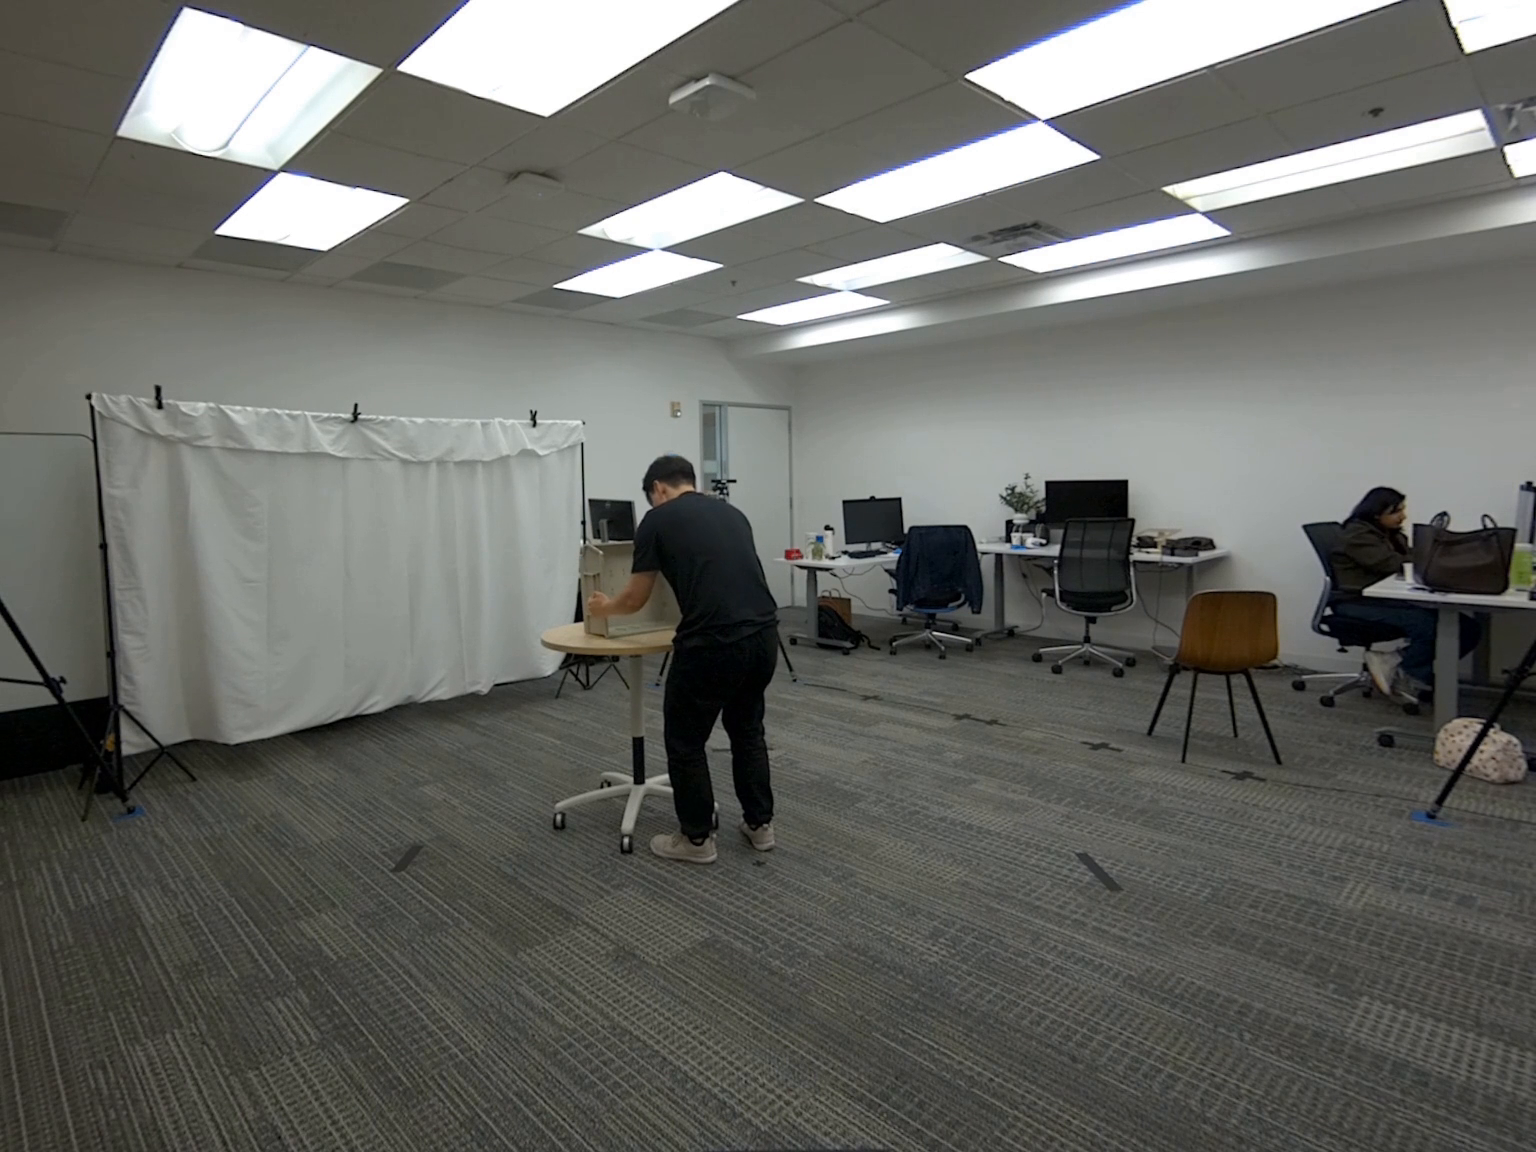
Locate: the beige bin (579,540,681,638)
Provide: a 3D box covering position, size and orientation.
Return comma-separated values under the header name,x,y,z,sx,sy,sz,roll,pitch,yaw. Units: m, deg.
name,x,y,z,sx,sy,sz,roll,pitch,yaw
beige bin,-0.546,0.042,3.551,0.411,0.377,0.194,-5,0,-38
